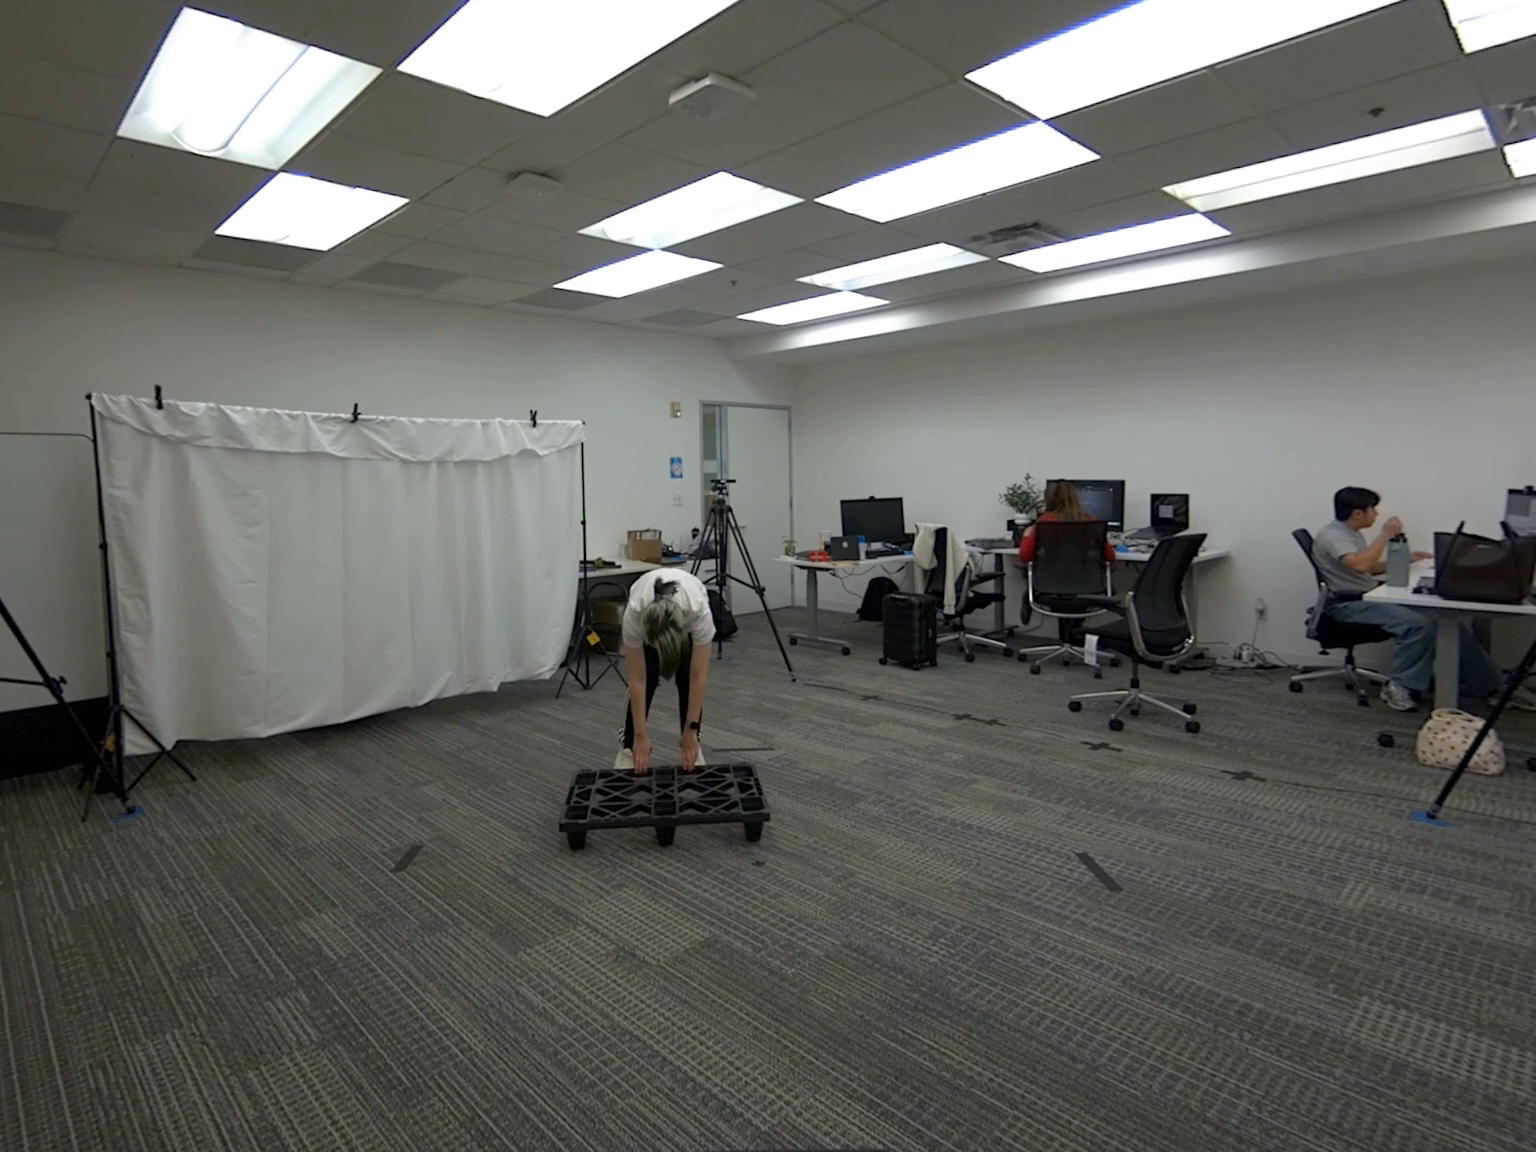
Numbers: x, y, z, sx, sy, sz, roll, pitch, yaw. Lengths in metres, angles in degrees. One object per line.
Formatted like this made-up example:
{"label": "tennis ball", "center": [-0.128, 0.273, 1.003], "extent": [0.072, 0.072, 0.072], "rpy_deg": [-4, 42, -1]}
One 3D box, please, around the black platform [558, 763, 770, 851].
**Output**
{"label": "black platform", "center": [-0.420, 0.940, 3.508], "extent": [0.802, 0.143, 0.610], "rpy_deg": [-1, 5, -5]}
